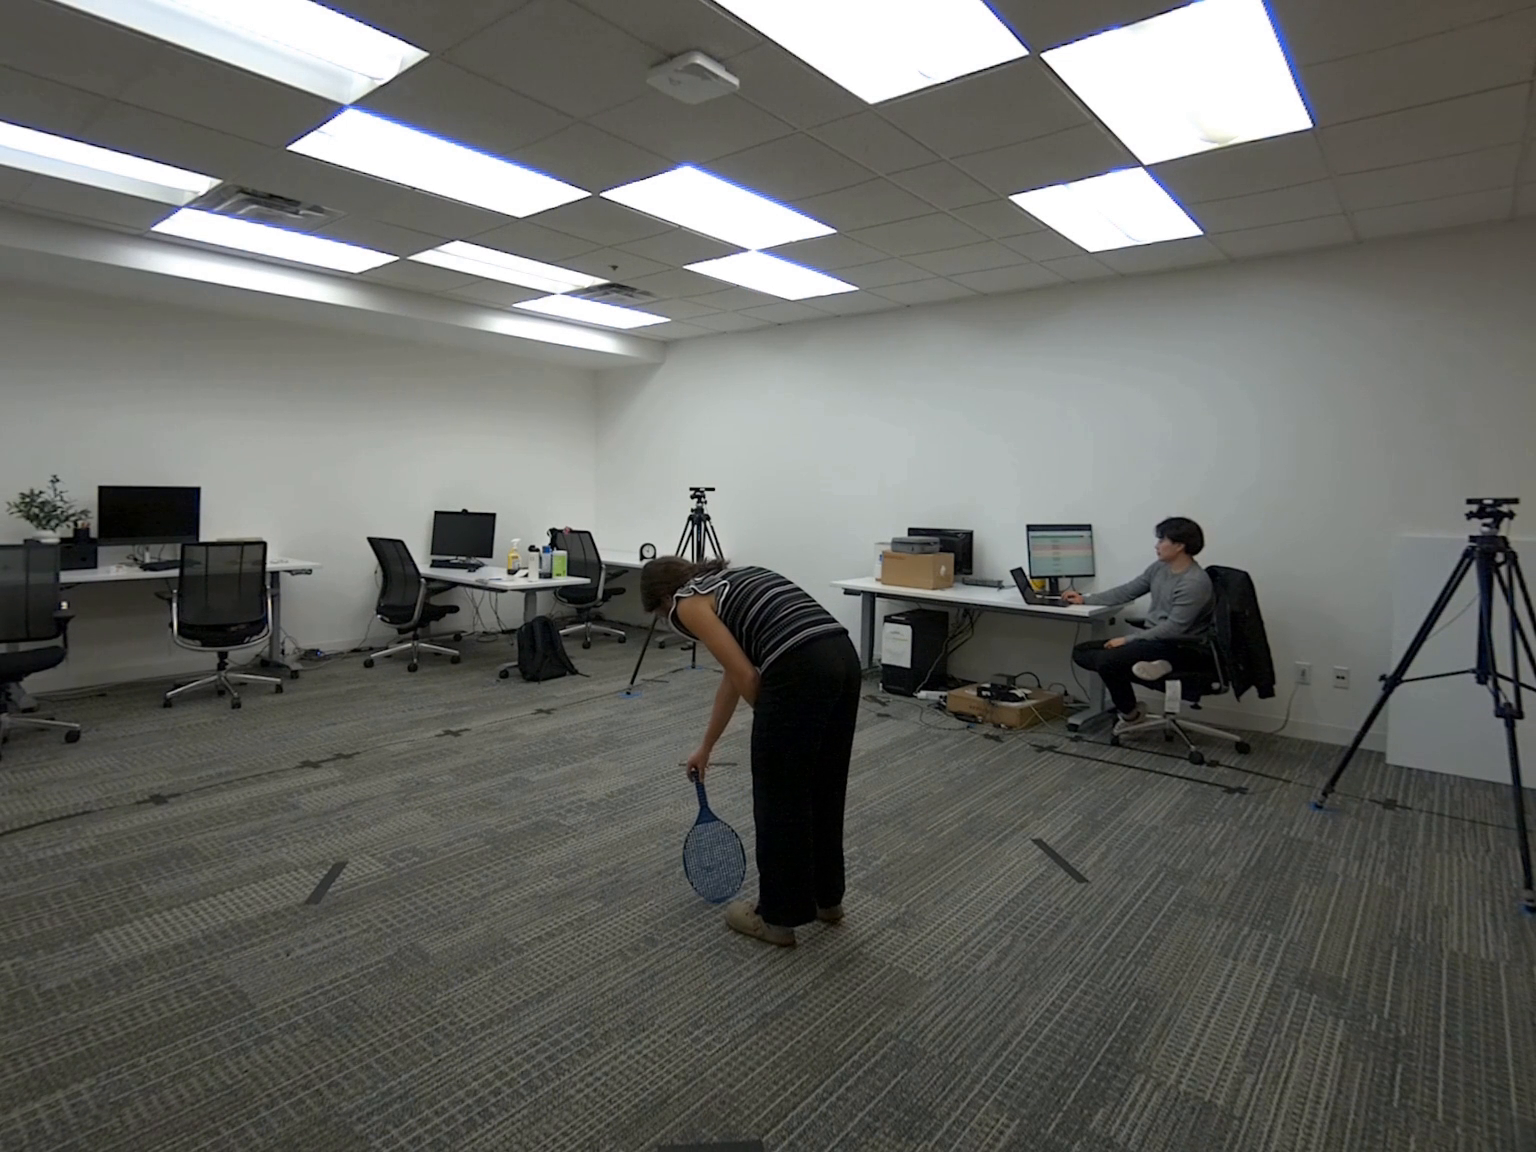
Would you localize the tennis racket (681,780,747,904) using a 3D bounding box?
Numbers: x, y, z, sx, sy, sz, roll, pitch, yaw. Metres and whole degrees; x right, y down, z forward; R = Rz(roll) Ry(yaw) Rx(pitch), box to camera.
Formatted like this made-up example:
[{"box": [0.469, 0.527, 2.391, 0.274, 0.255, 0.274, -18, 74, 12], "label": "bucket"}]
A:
[{"box": [-0.206, 0.881, 2.906, 0.213, 0.439, 0.031, -11, -13, -4], "label": "tennis racket"}]
